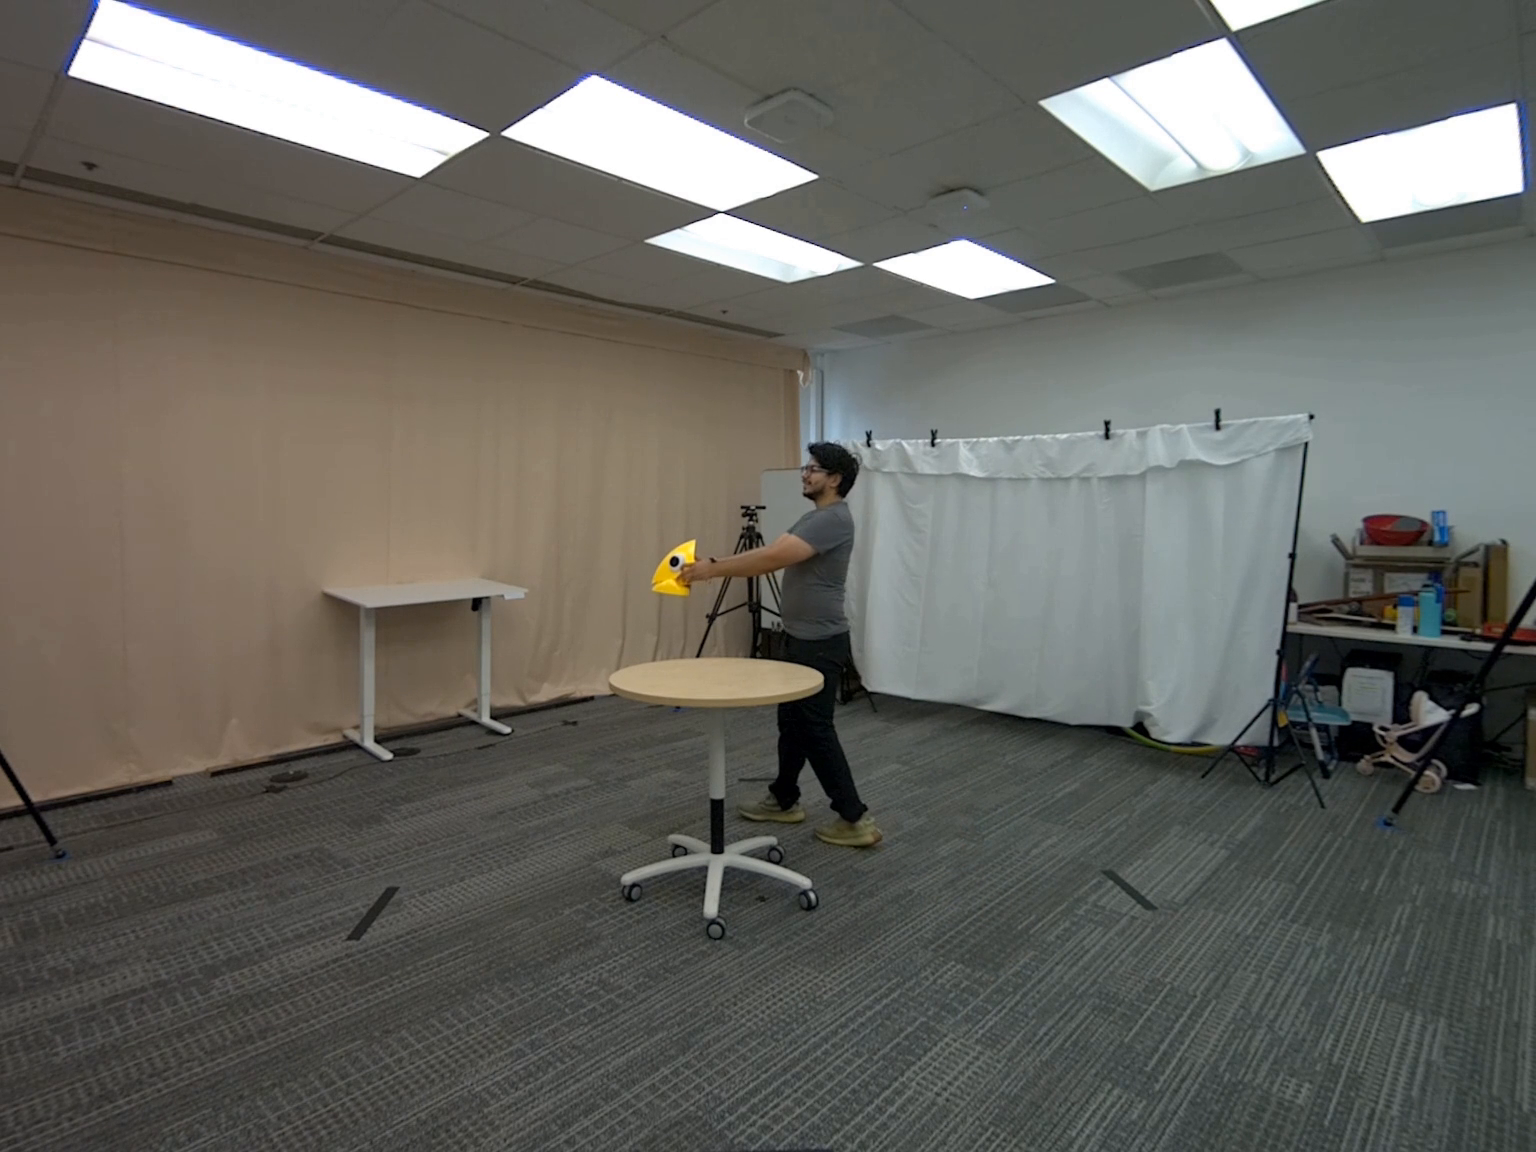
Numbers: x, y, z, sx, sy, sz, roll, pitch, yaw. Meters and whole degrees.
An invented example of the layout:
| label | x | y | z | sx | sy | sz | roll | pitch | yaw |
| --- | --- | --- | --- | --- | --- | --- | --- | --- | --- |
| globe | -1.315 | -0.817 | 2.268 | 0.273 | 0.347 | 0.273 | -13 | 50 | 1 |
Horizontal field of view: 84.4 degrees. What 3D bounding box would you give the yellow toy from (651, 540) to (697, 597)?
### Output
| label | x | y | z | sx | sy | sz | roll | pitch | yaw |
| --- | --- | --- | --- | --- | --- | --- | --- | --- | --- |
| yellow toy | -0.381 | -0.048 | 3.555 | 0.192 | 0.230 | 0.206 | 7 | 4 | -3 |
